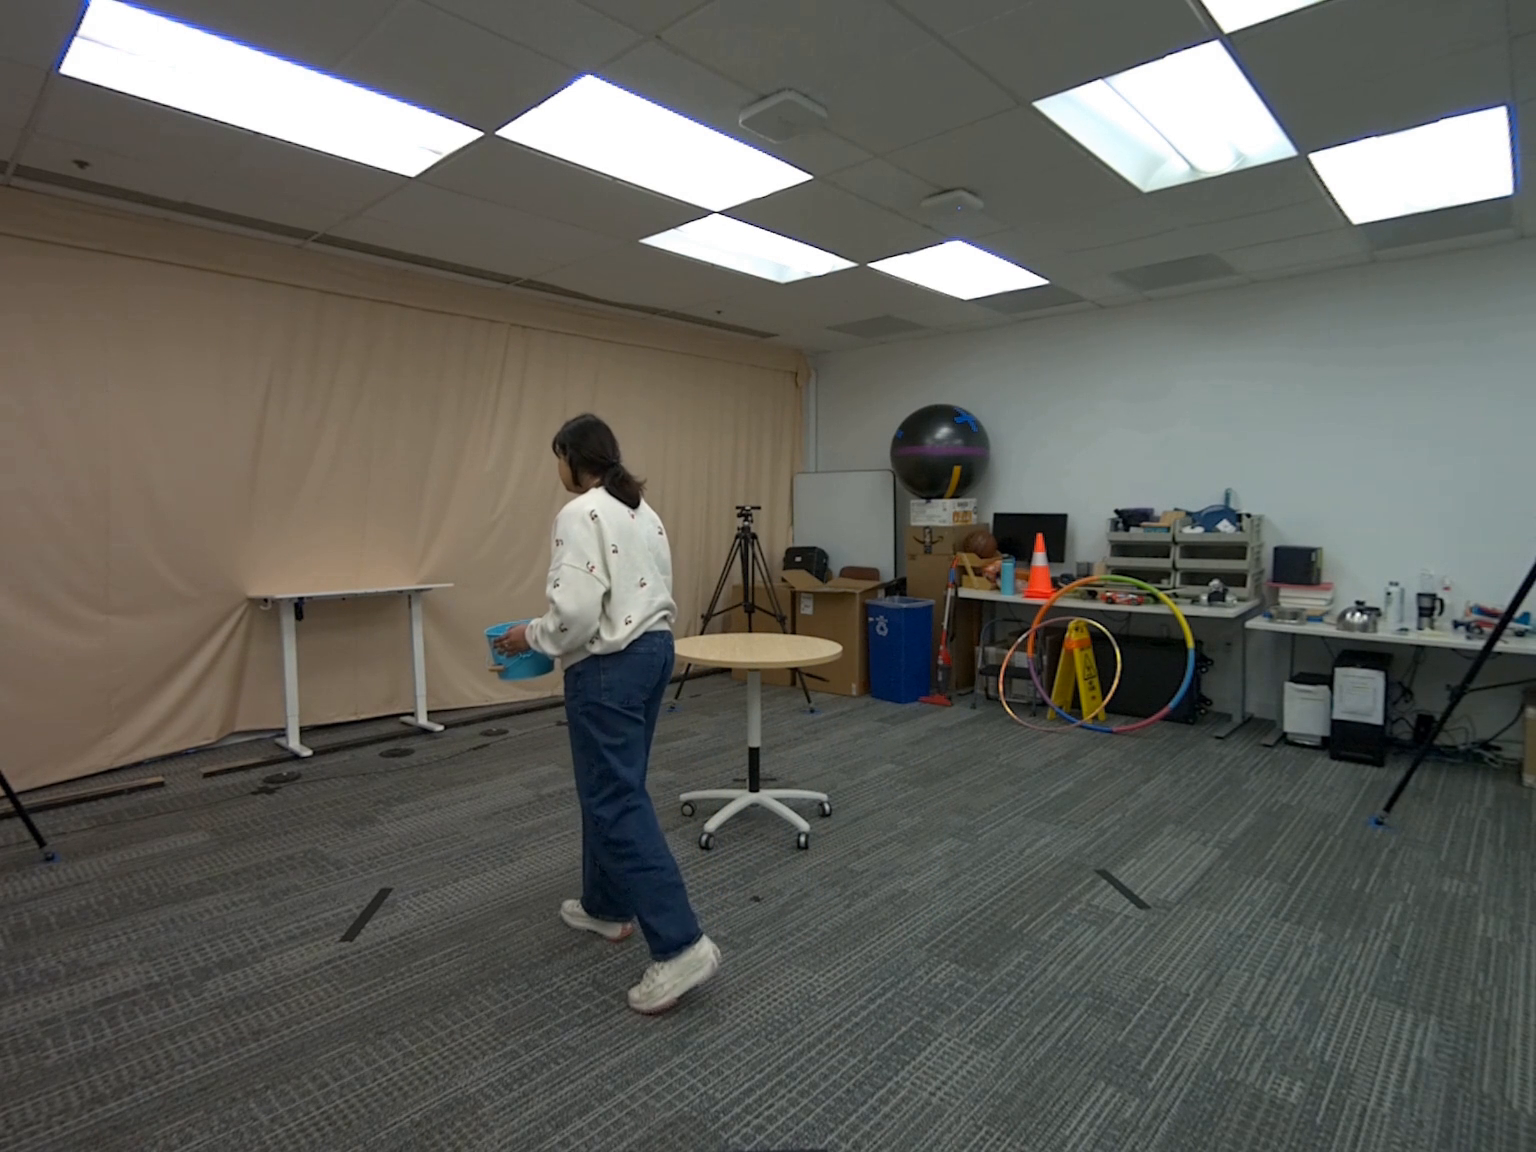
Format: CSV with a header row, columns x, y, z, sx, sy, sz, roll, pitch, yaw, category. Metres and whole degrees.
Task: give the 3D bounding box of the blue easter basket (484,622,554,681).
x,y,z,sx,sy,sz,roll,pitch,yaw,category
-0.792,0.244,2.691,0.243,0.155,0.244,-5,5,-1,blue easter basket
